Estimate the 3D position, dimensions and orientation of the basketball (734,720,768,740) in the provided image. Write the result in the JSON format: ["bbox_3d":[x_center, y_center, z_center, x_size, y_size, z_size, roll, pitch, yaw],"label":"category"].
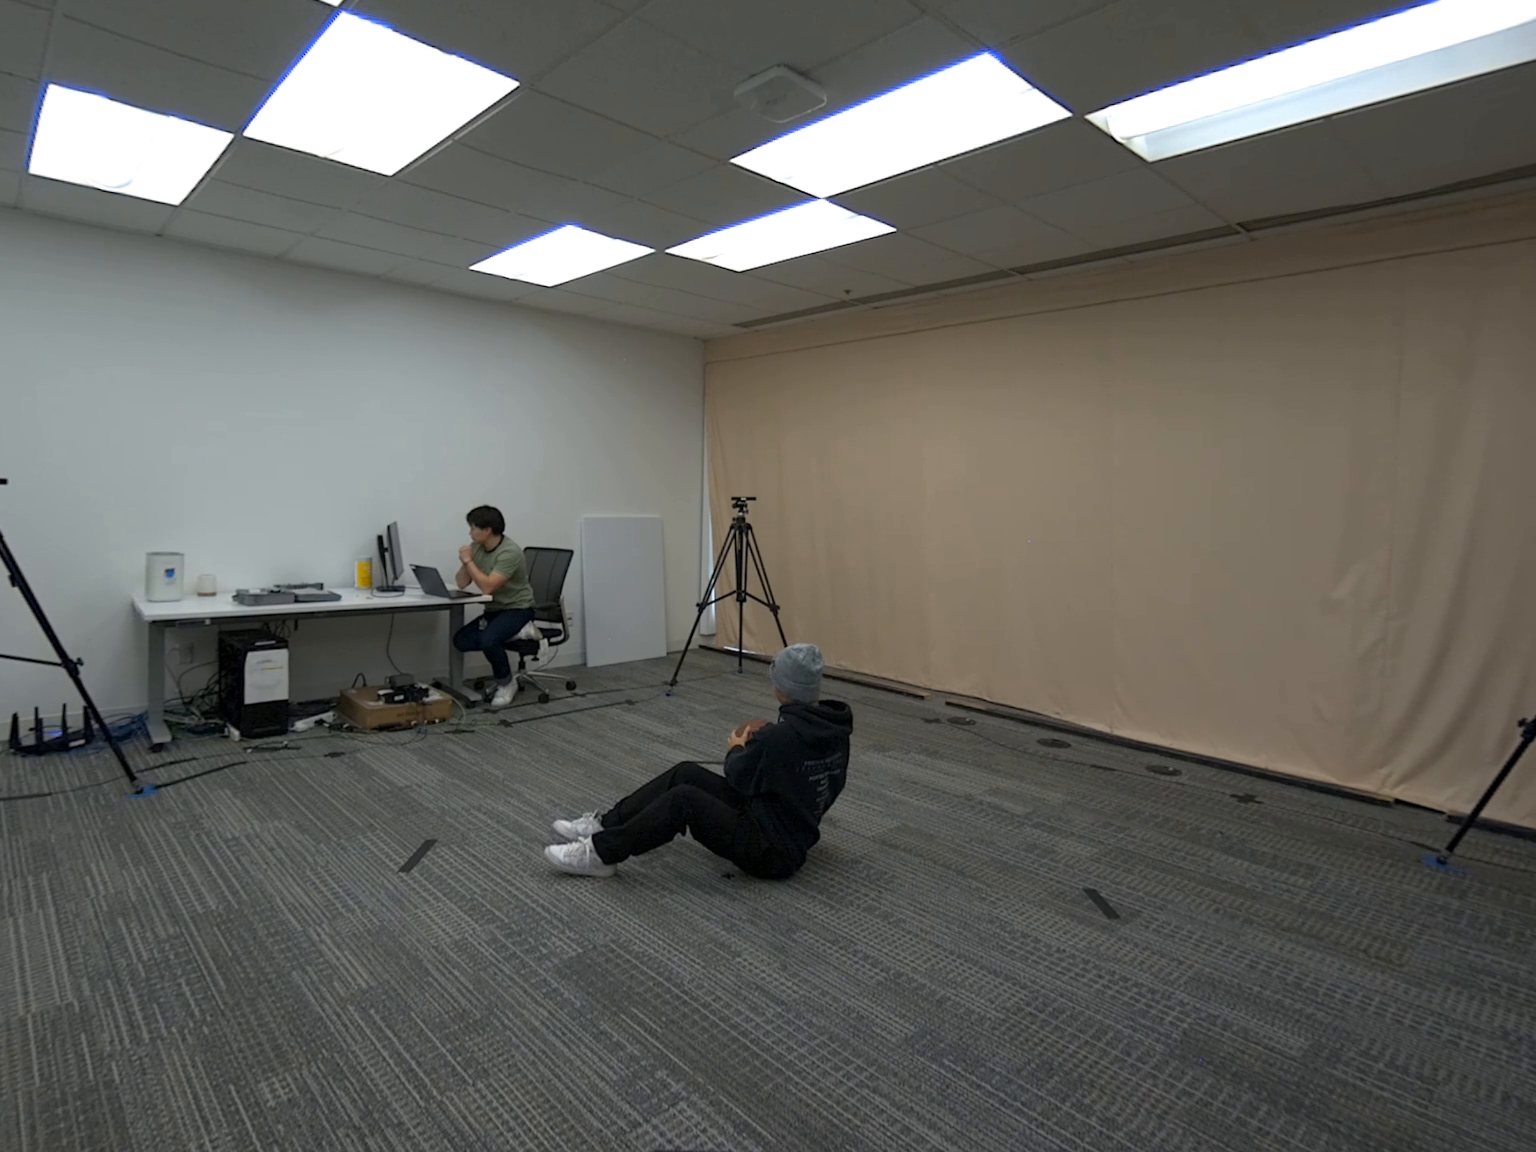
[{"bbox_3d":[-0.051,0.736,3.581,0.236,0.235,0.237,1,4,-1],"label":"basketball"}]
